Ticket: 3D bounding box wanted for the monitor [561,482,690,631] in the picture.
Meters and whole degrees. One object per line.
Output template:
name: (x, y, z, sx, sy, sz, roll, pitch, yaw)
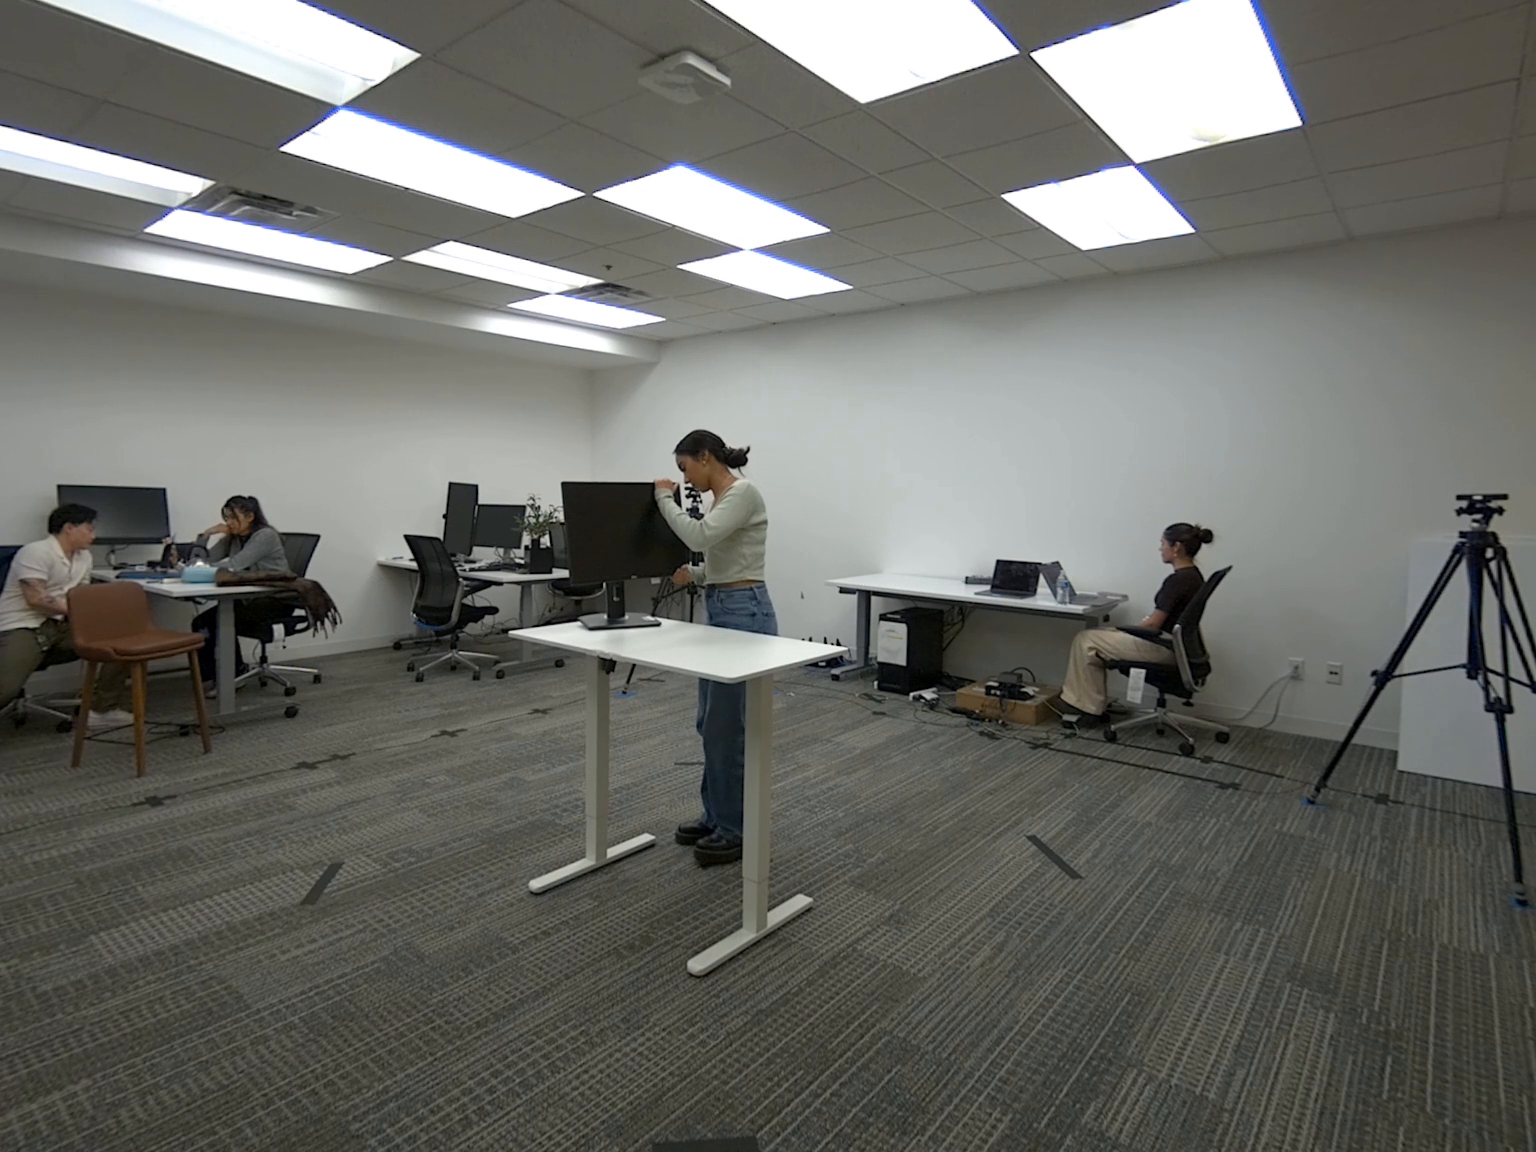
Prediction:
monitor: (-0.544, -0.081, 3.086, 0.194, 0.519, 0.523, 10, 10, 42)
